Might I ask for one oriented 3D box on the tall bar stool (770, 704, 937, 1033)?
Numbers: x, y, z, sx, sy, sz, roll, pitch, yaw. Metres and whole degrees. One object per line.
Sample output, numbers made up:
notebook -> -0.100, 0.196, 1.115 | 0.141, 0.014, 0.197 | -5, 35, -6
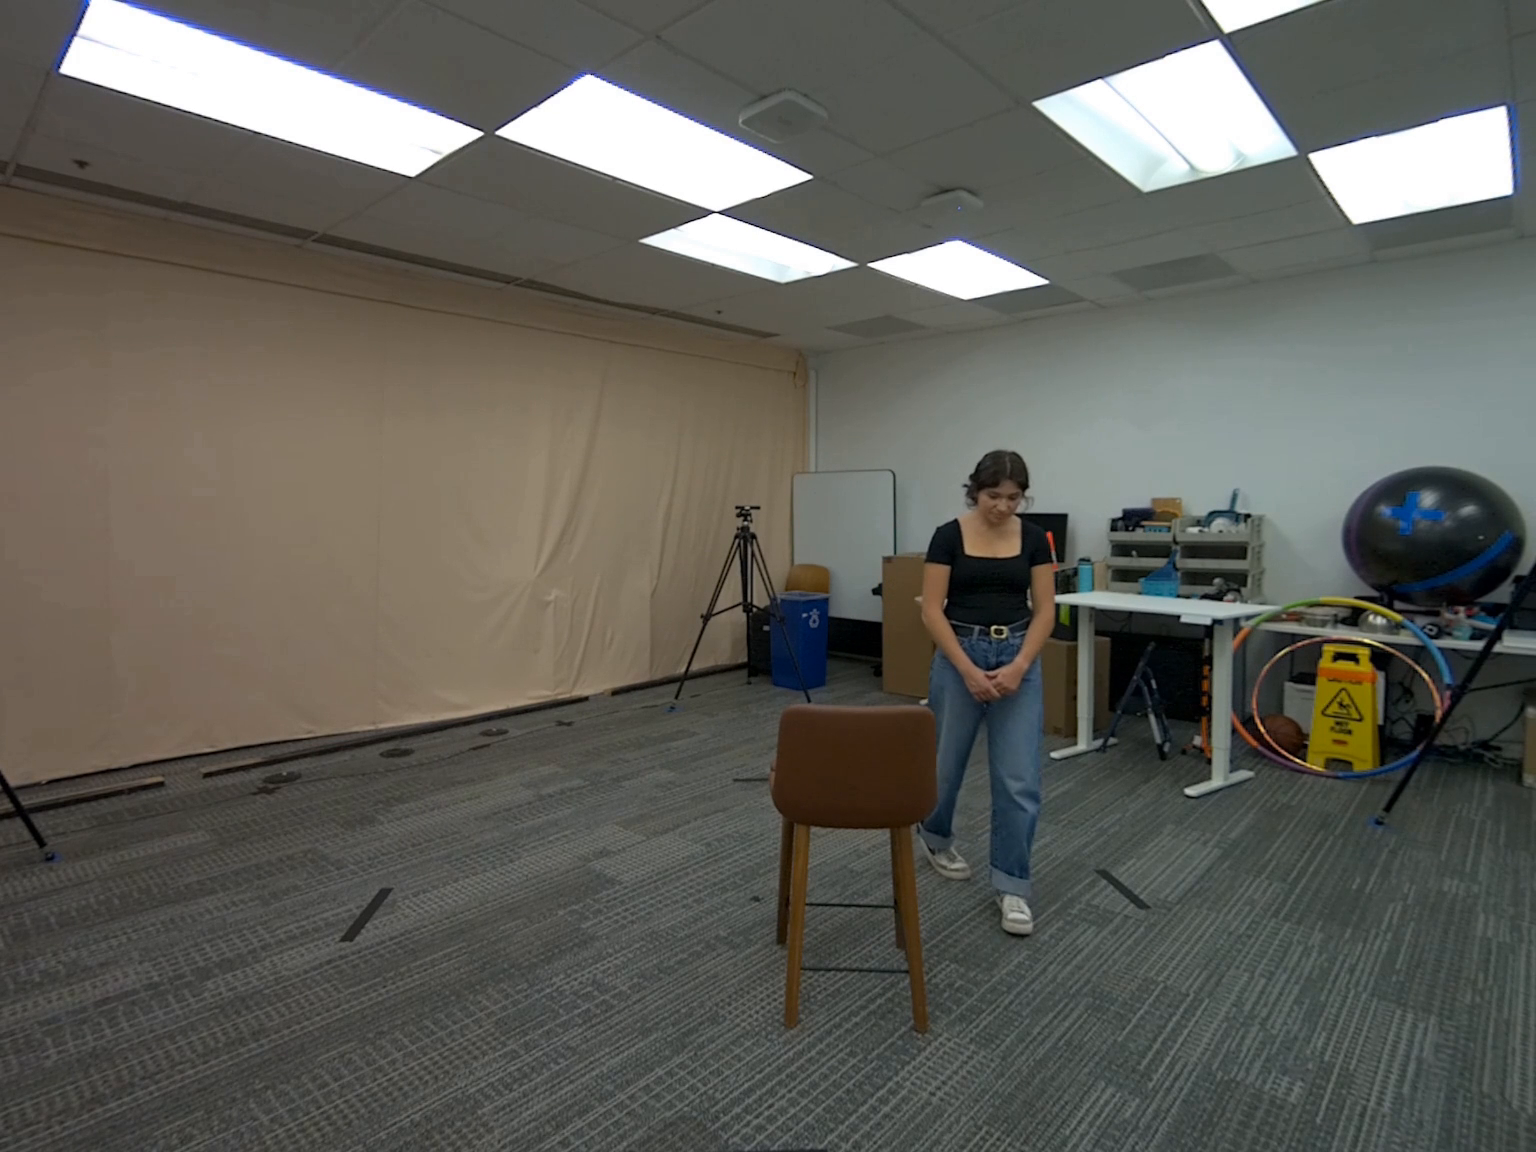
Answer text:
tall bar stool -> 0.238, 0.754, 2.428 | 0.458, 0.887, 0.468 | 0, 5, 2
